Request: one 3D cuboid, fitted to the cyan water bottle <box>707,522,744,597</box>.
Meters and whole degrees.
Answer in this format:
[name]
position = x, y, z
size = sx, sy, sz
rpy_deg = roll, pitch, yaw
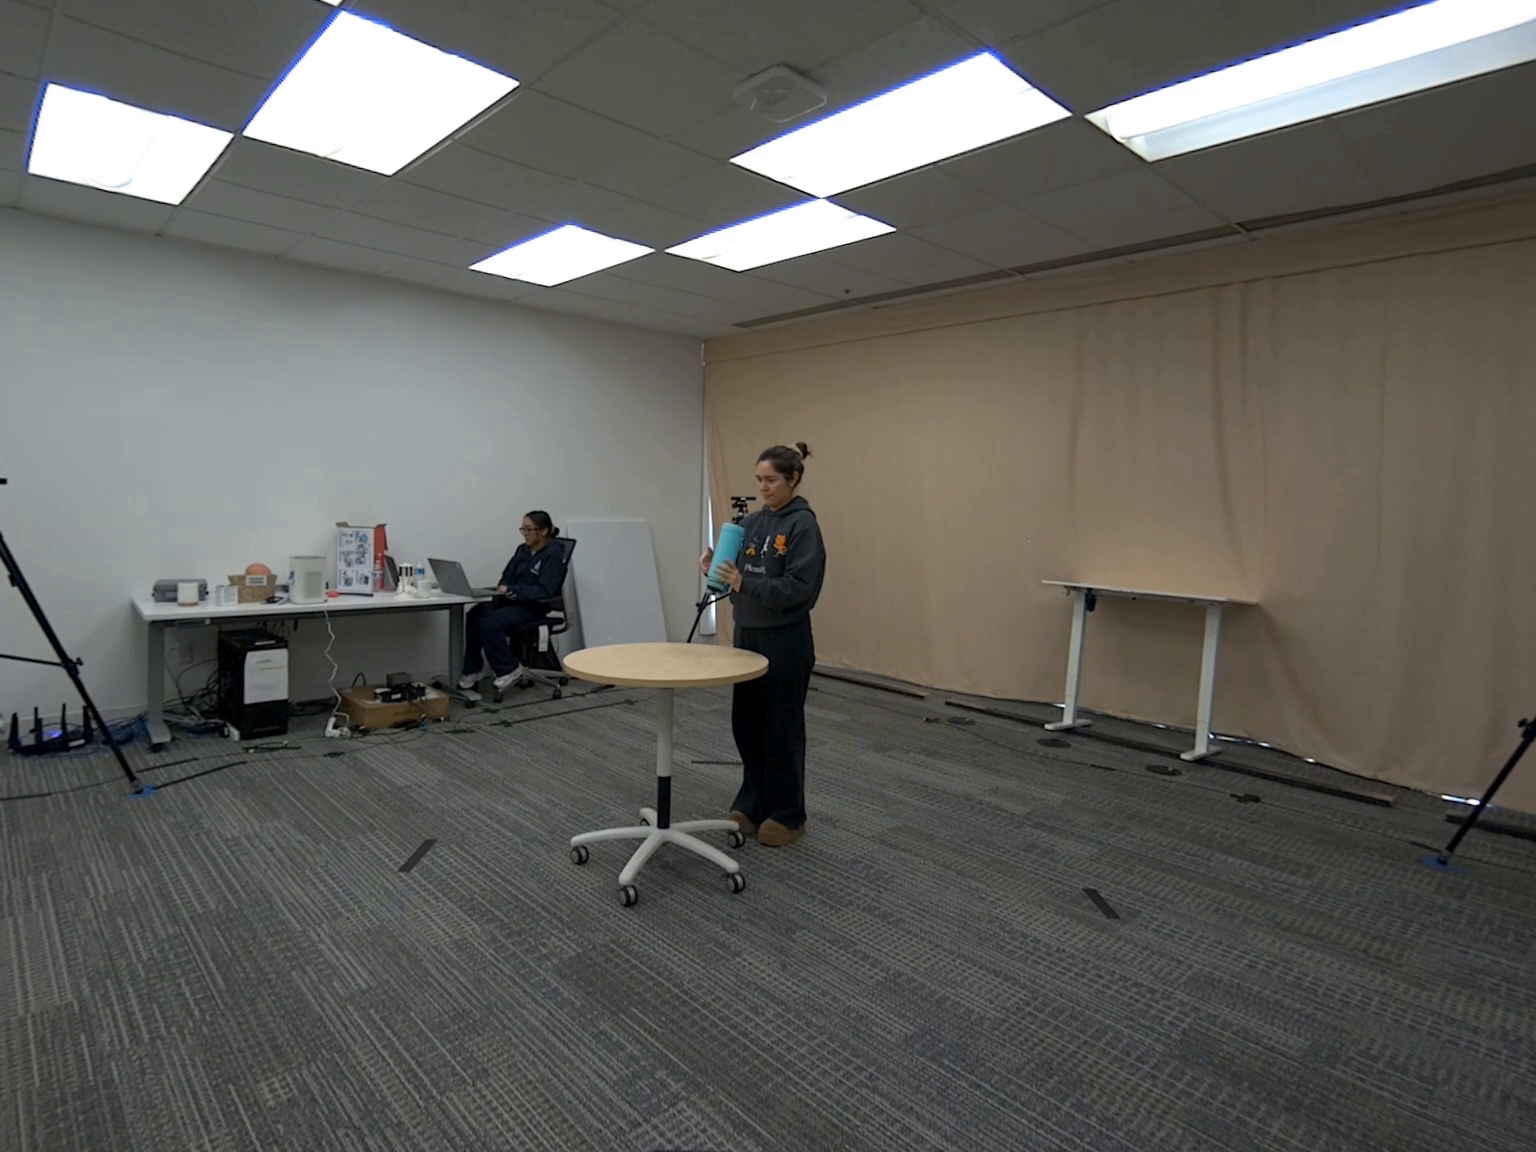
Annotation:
[cyan water bottle]
position = -0.182, -0.058, 3.297
size = 0.092, 0.283, 0.092
rpy_deg = 17, -1, -1
